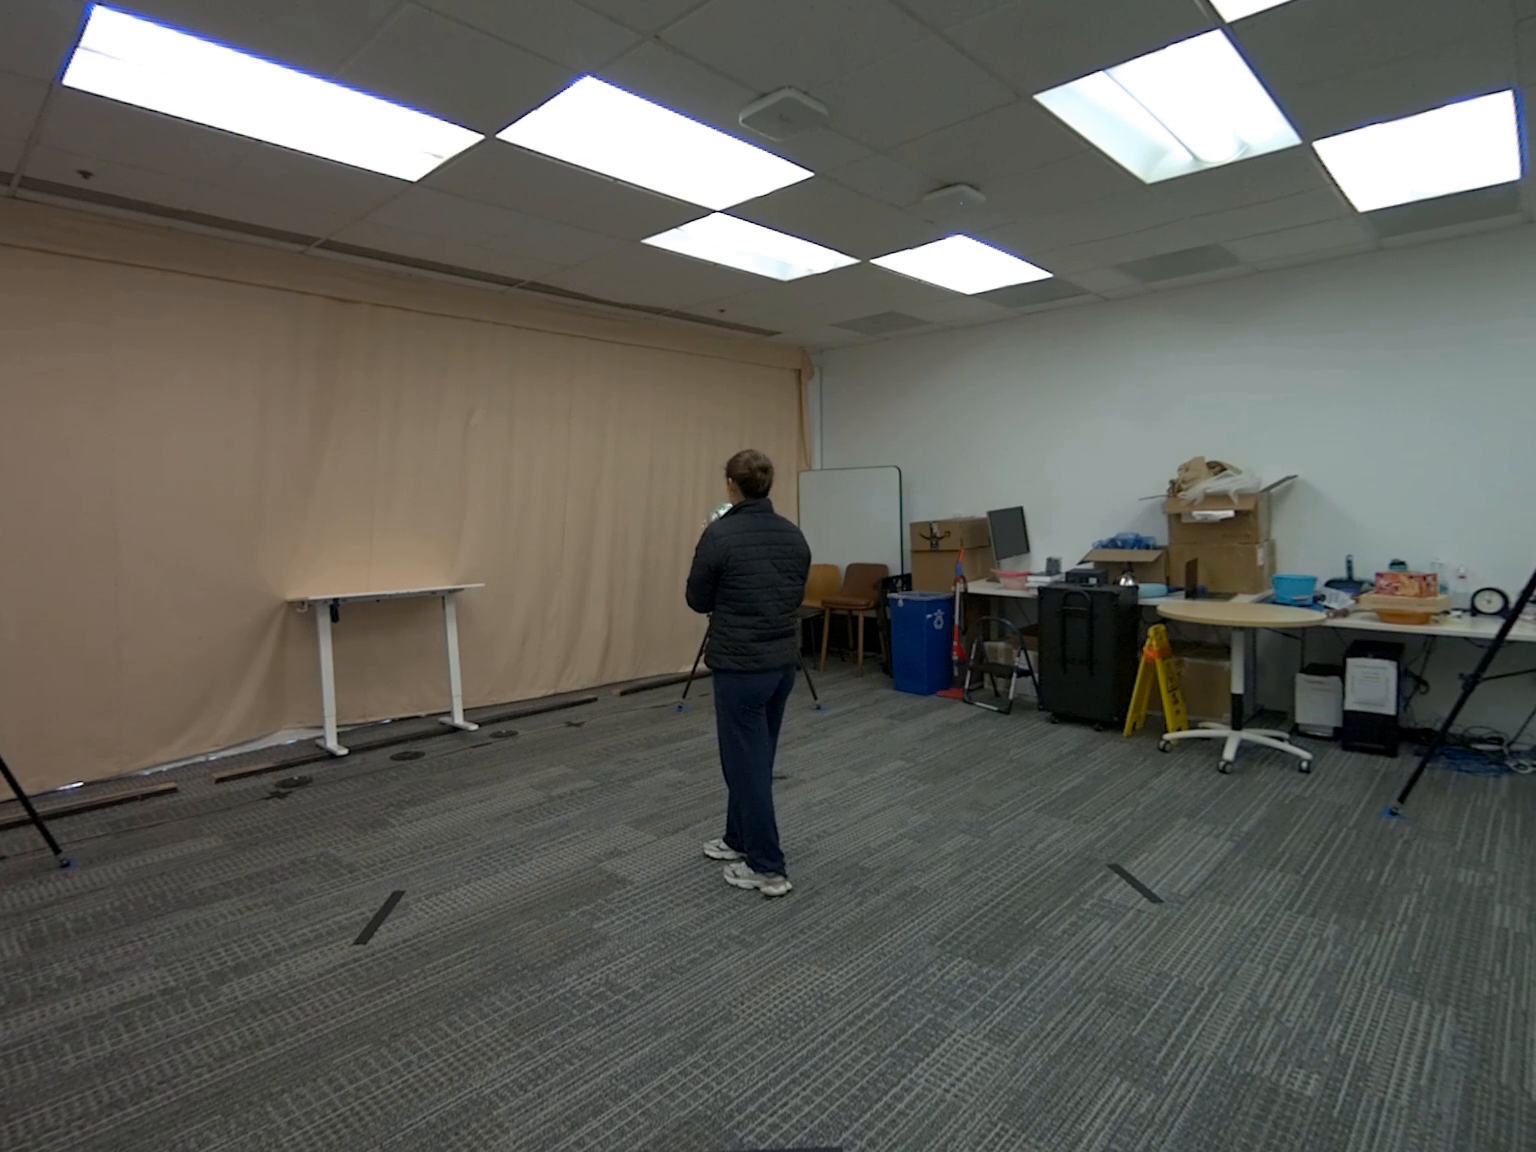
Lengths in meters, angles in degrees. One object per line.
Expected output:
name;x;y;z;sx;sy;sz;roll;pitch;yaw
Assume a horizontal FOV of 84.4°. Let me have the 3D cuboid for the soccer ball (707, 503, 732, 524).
soccer ball;-0.152;-0.199;3.339;0.187;0.187;0.188;-1;4;-2
